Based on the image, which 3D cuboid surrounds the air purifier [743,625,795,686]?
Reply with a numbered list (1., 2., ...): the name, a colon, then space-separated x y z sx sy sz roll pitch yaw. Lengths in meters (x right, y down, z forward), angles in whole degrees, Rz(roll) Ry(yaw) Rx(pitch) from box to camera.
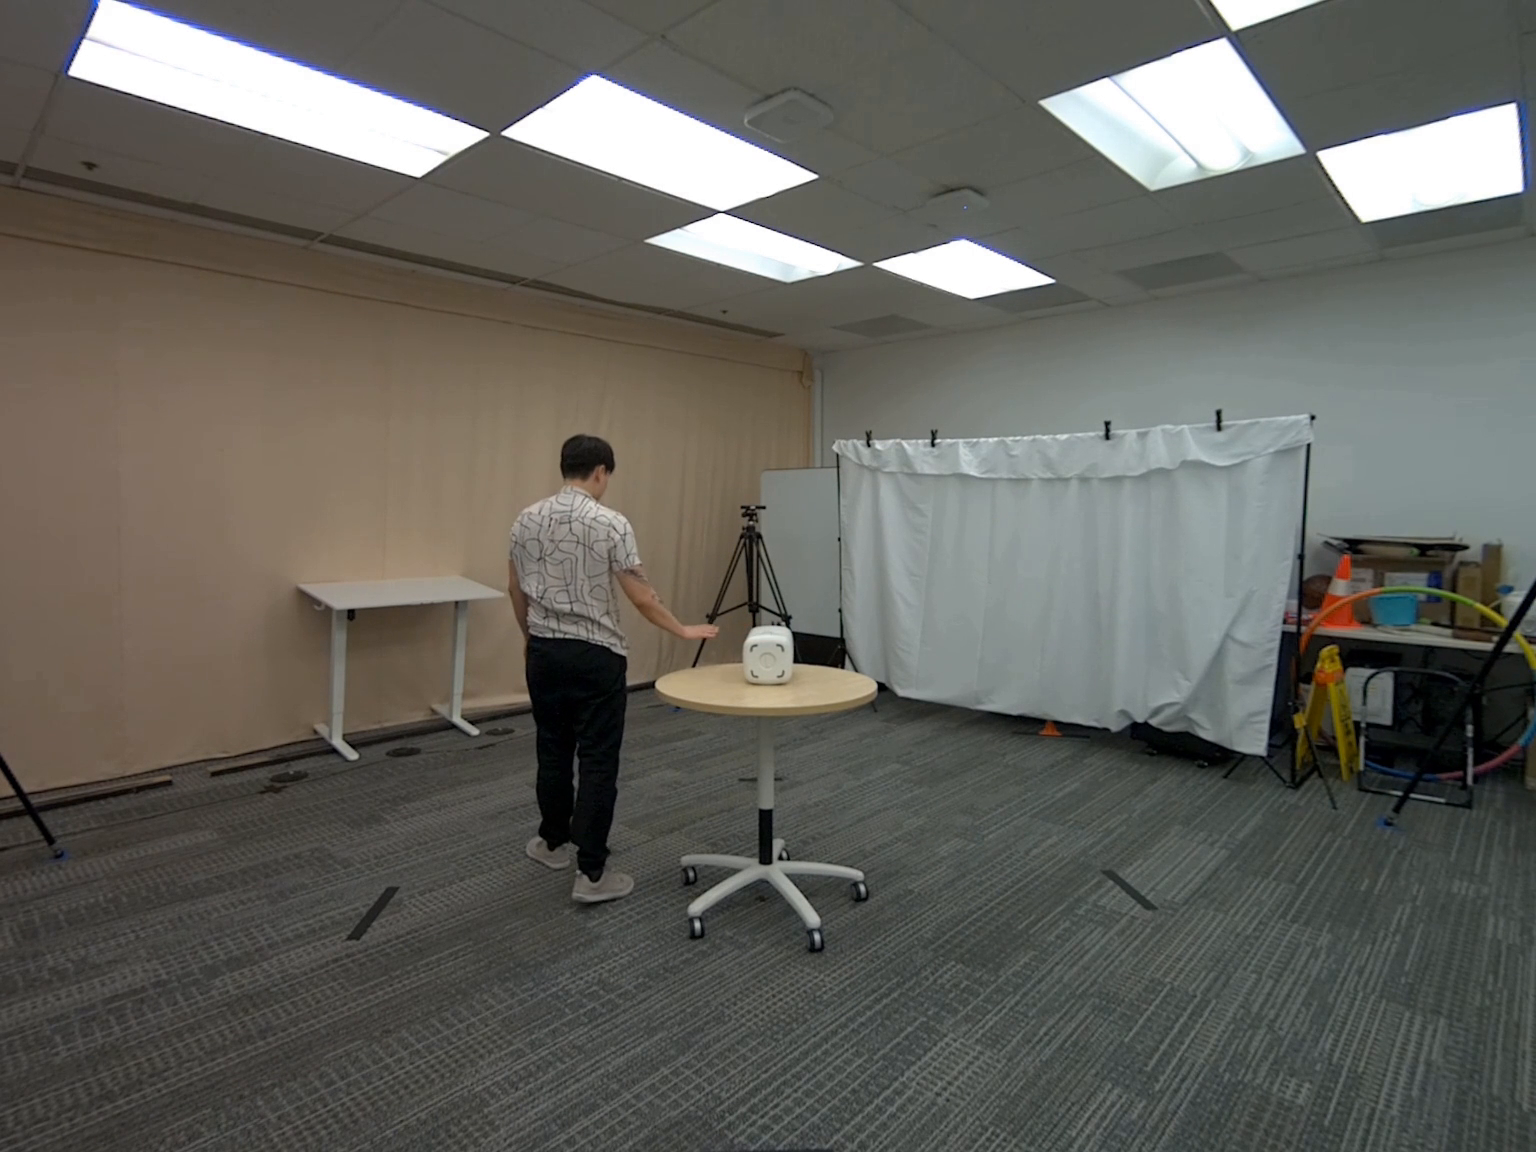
1. air purifier: 0.009 0.278 2.985 0.172 0.171 0.265 0 4 2
